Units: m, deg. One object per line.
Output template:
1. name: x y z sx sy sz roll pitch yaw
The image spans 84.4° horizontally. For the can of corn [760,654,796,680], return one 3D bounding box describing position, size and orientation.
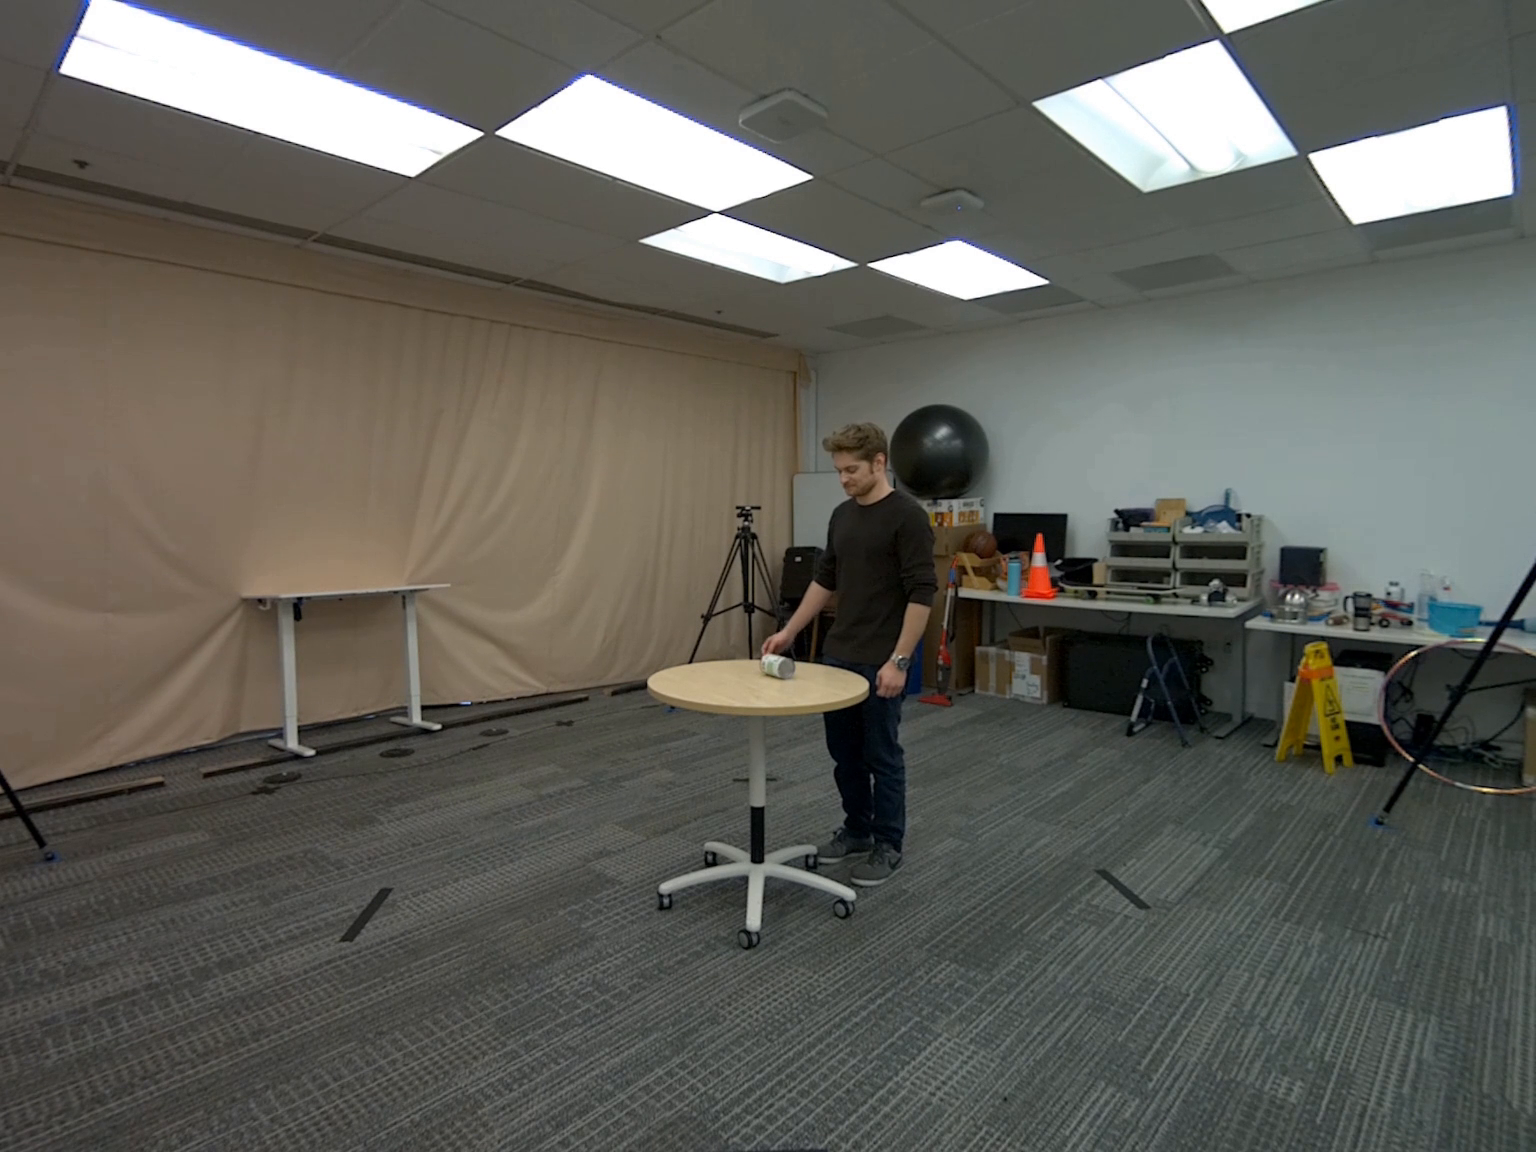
1. can of corn: 0.036 0.322 2.990 0.072 0.074 0.114 -3 4 -34
